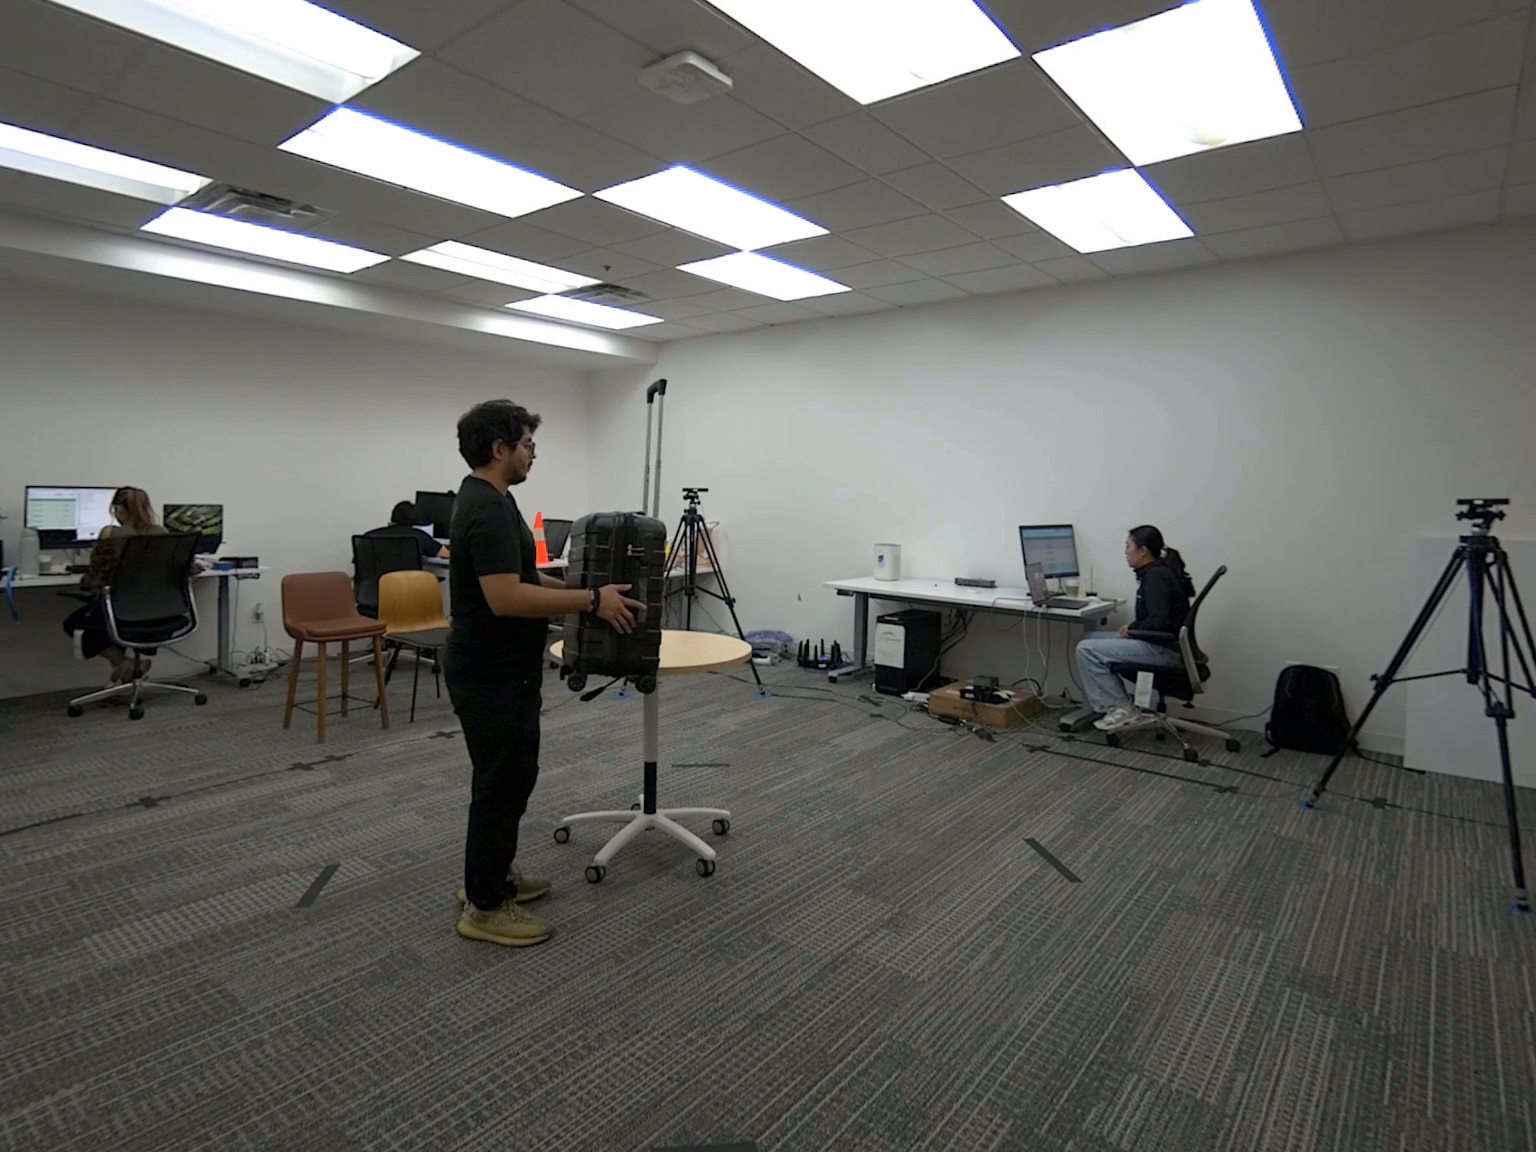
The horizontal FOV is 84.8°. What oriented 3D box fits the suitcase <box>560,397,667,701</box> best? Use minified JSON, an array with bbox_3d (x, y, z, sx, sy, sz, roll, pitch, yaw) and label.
[{"bbox_3d":[-0.501,-0.136,2.699,0.252,0.982,0.391,3,-4,-21],"label":"suitcase"}]
